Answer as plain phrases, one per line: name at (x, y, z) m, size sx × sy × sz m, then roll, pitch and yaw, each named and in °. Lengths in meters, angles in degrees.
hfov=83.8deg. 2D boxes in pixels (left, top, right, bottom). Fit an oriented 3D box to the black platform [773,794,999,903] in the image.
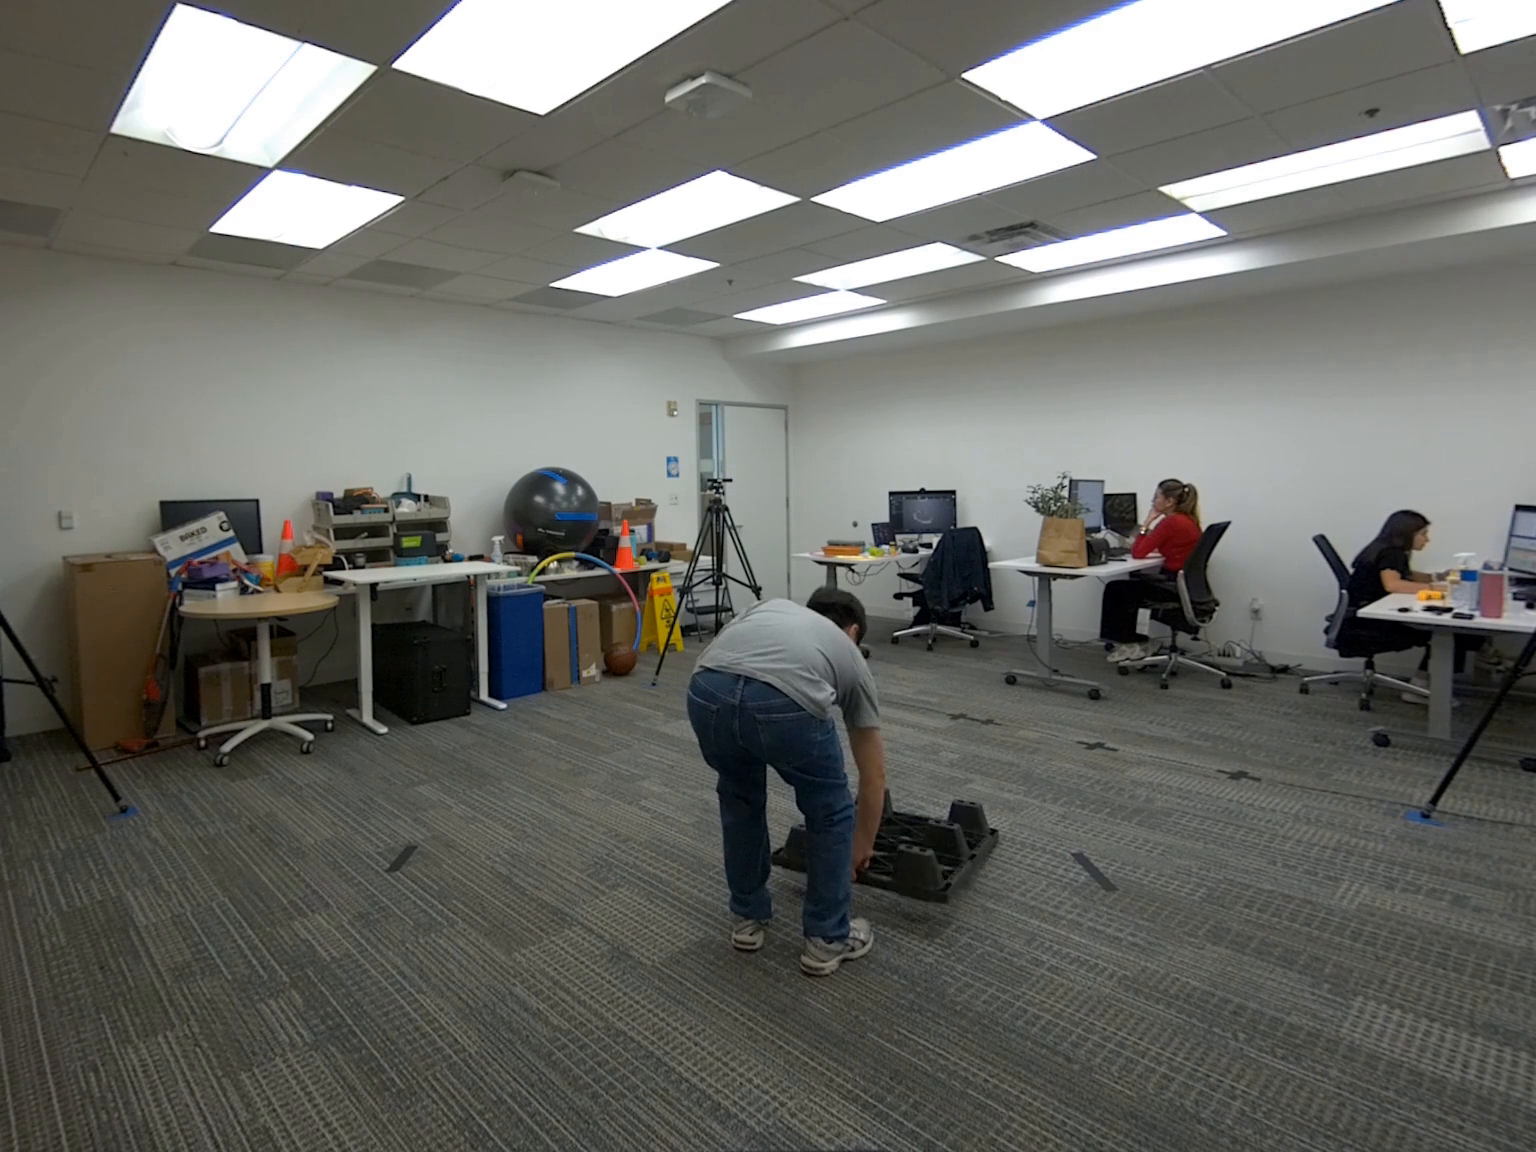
black platform at (0.453, 0.918, 3.074) m, size 0.620 × 0.143 × 0.785 m, roll 2°, pitch 0°, yaw 27°
